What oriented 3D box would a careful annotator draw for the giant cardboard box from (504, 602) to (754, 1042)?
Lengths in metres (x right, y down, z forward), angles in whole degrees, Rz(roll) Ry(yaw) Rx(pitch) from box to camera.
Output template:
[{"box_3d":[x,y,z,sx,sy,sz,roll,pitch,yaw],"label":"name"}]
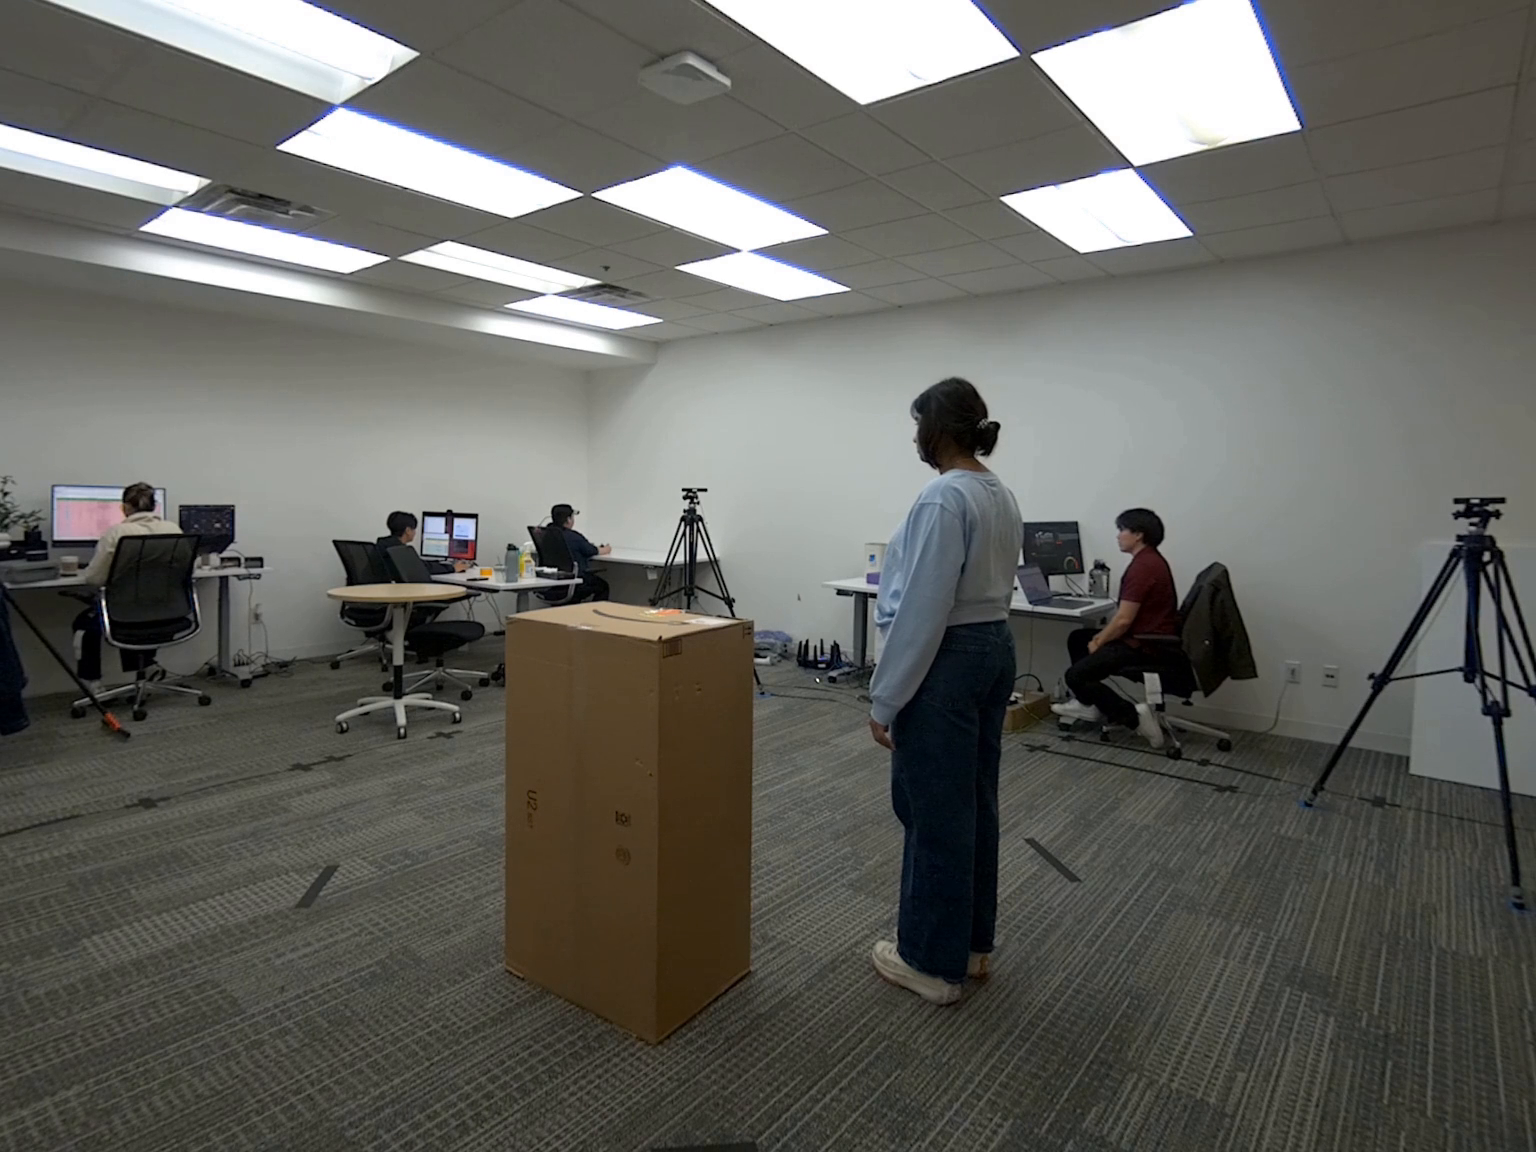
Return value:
[{"box_3d":[-0.404,0.624,2.430,0.602,1.024,0.434,3,3,35],"label":"giant cardboard box"}]
